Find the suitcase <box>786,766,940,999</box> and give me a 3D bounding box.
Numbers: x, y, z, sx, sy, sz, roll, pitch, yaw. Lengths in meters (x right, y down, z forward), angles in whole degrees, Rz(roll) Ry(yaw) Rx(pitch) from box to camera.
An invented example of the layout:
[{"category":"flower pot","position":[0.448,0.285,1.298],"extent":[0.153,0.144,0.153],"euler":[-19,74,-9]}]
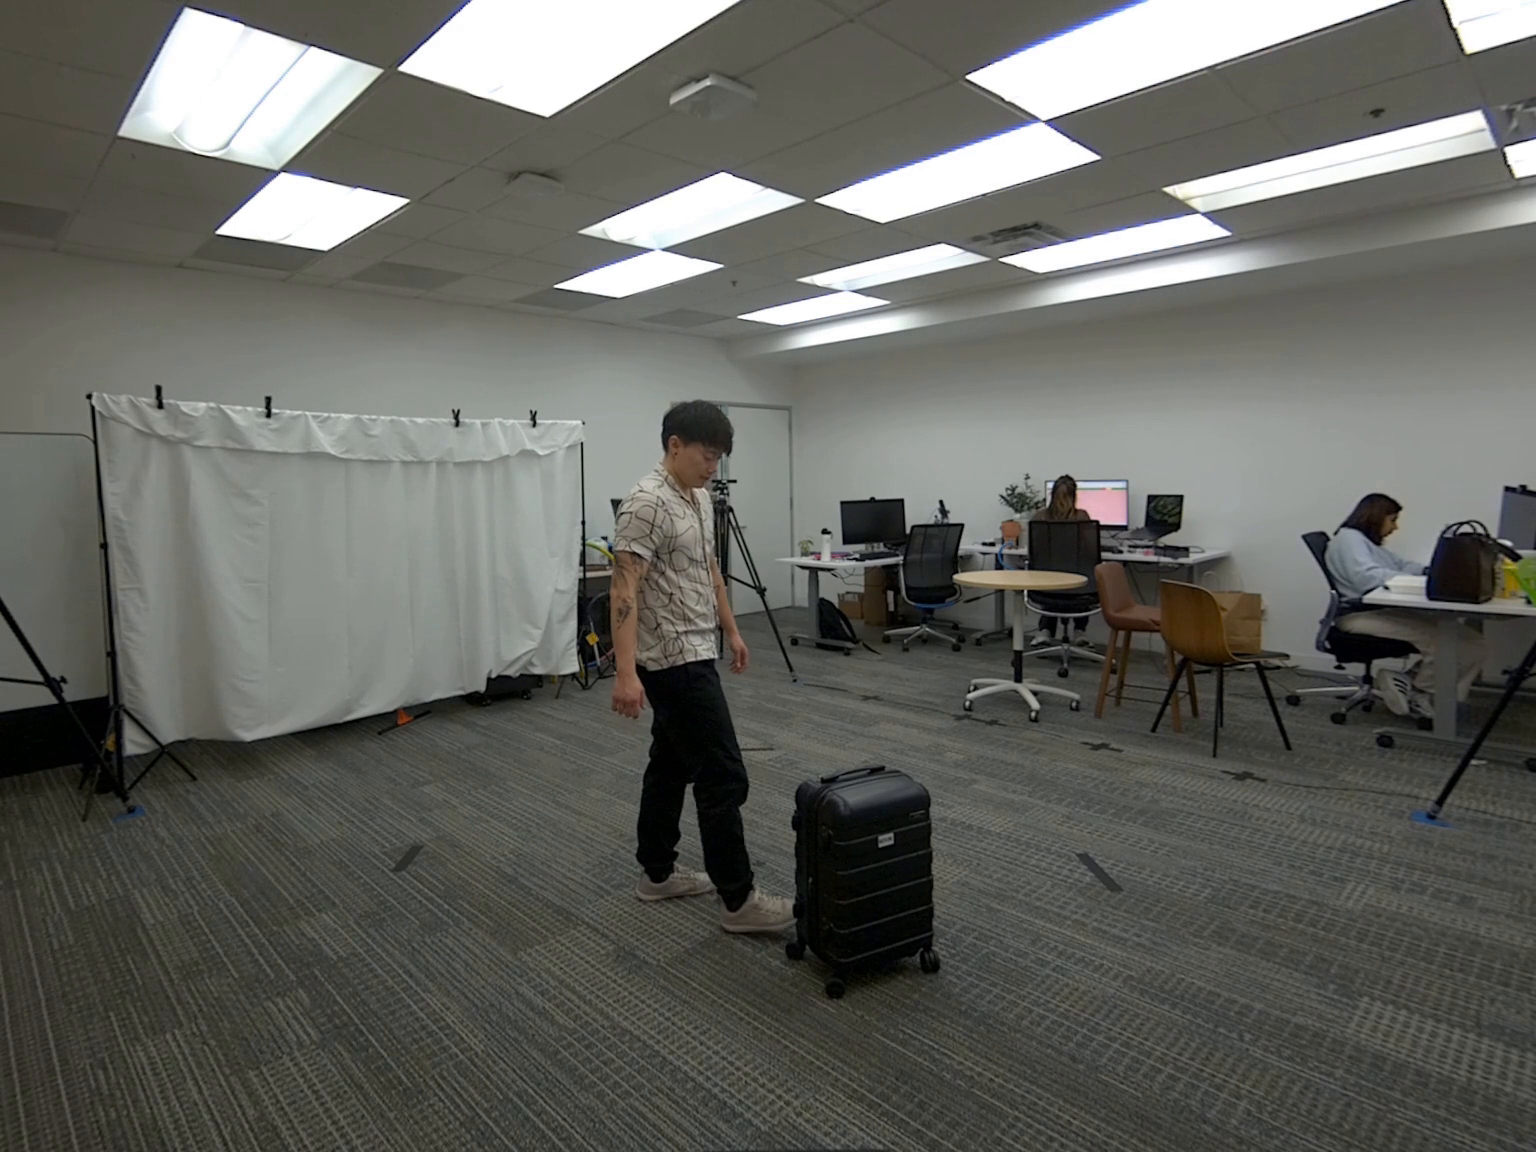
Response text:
[{"category":"suitcase","position":[0.282,0.838,2.447],"extent":[0.367,0.547,0.254],"euler":[-3,4,-26]}]
